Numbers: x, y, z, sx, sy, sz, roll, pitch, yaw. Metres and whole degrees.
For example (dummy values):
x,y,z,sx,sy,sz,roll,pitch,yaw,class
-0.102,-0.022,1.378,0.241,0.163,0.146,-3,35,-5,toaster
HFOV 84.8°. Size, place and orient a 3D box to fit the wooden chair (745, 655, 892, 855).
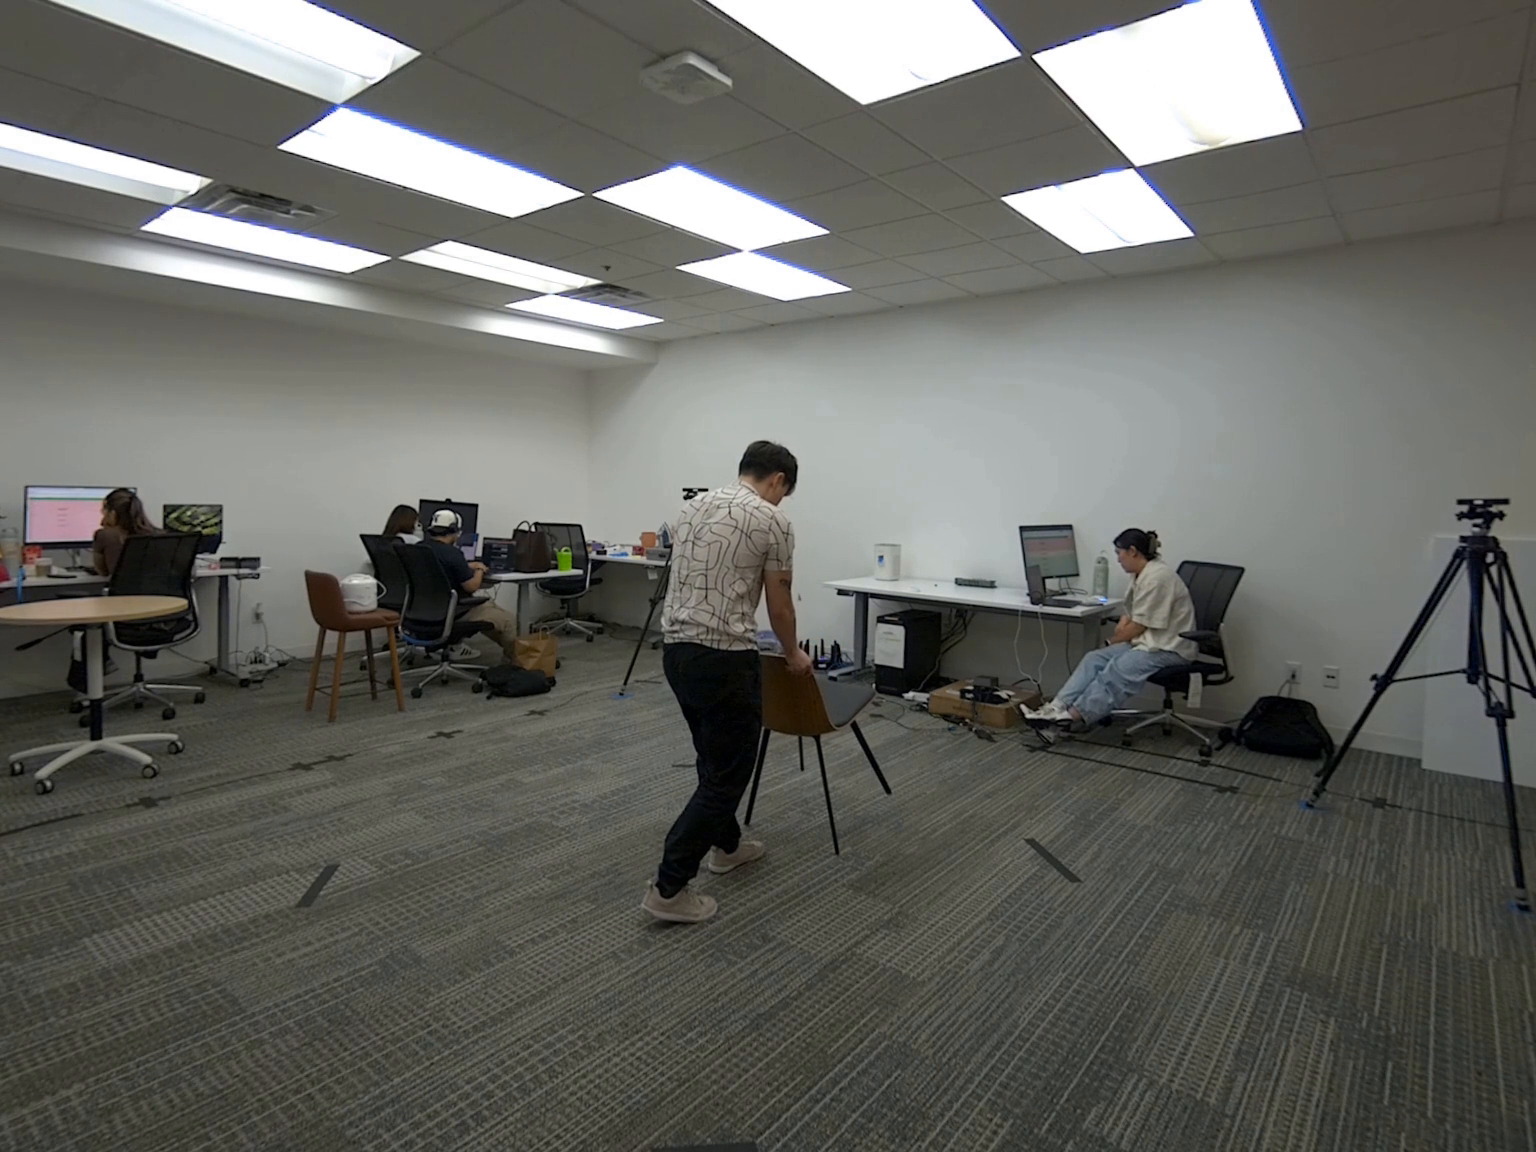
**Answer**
x,y,z,sx,sy,sz,roll,pitch,yaw,class
0.148,0.570,3.452,0.494,0.859,0.517,4,24,37,wooden chair
